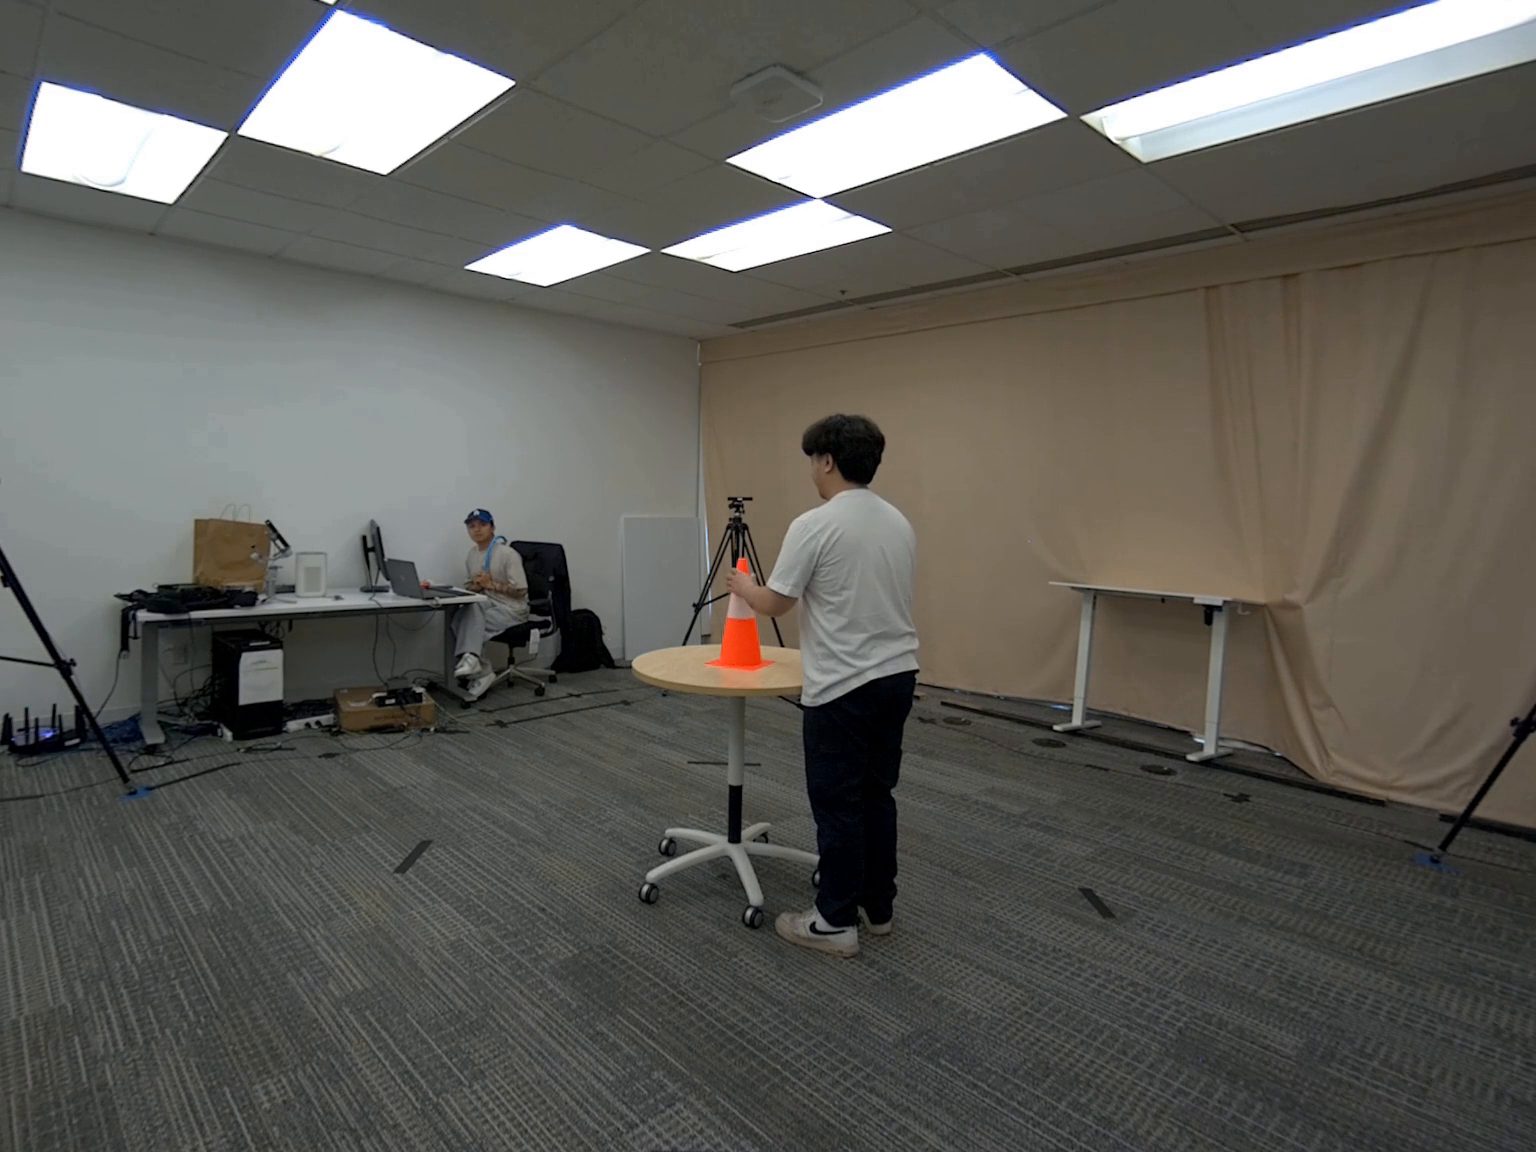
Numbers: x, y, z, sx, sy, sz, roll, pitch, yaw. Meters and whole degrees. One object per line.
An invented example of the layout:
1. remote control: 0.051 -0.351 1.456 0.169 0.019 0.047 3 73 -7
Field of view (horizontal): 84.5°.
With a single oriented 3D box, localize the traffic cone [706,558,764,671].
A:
1. traffic cone: -0.099 0.130 3.041 0.207 0.383 0.201 4 2 26
